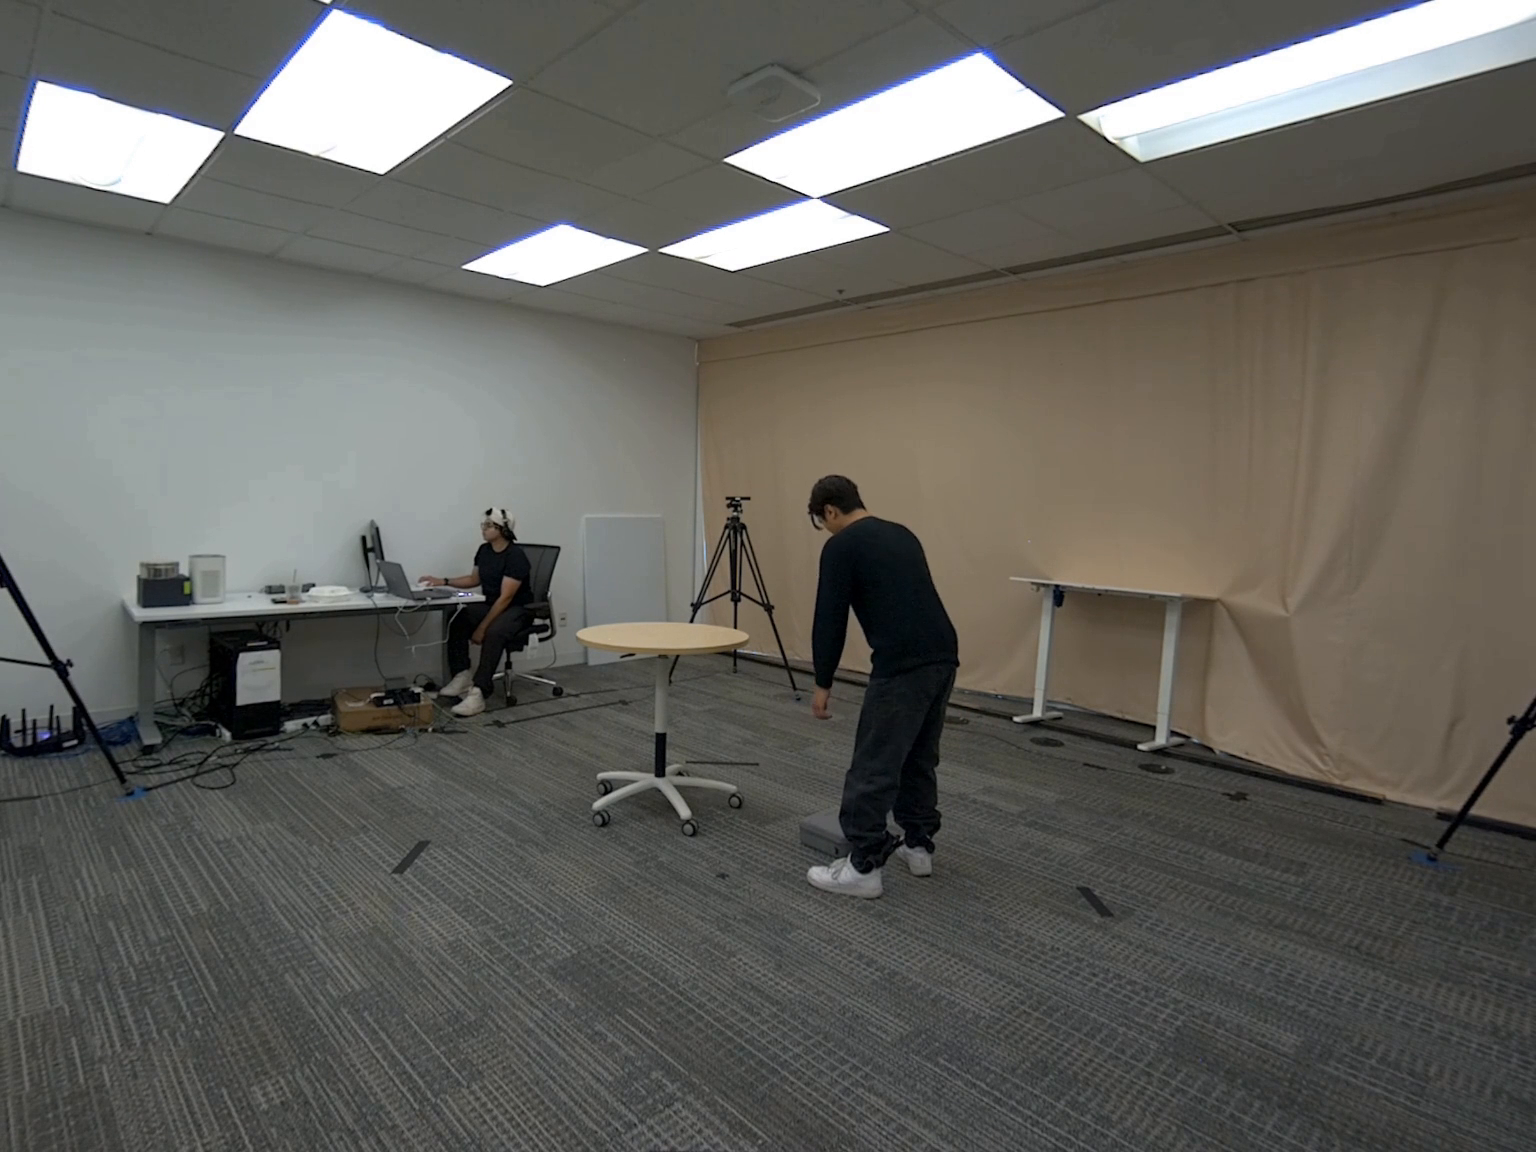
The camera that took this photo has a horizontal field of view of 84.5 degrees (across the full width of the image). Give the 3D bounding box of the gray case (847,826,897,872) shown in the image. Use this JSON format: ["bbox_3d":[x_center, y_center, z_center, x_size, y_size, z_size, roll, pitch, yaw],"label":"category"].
[{"bbox_3d":[0.298,1.036,3.409,0.251,0.104,0.267,-1,6,-44],"label":"gray case"}]
